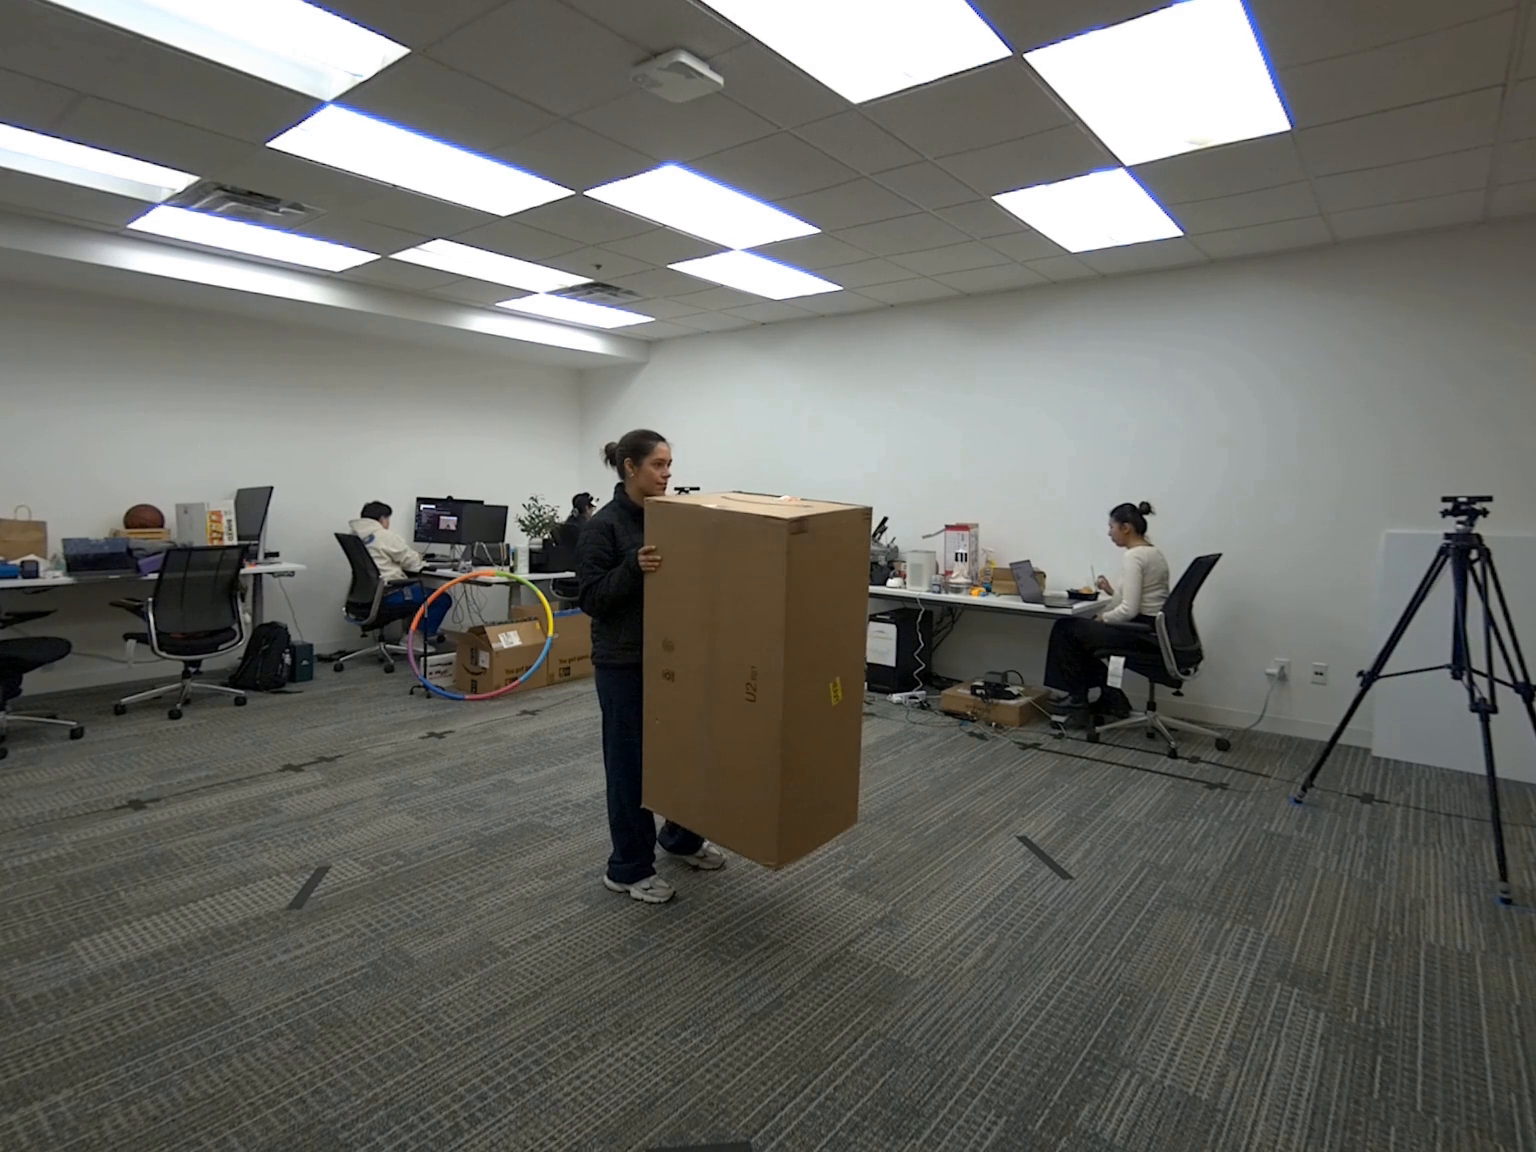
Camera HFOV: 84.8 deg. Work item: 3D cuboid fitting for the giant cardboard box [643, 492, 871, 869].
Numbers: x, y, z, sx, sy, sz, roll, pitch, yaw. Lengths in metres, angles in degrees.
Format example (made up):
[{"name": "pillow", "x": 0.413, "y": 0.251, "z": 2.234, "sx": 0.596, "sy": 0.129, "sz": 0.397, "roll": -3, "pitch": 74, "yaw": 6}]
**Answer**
[{"name": "giant cardboard box", "x": -0.036, "y": 0.276, "z": 2.707, "sx": 0.598, "sy": 1.017, "sz": 0.414, "roll": 10, "pitch": 12, "yaw": 41}]
